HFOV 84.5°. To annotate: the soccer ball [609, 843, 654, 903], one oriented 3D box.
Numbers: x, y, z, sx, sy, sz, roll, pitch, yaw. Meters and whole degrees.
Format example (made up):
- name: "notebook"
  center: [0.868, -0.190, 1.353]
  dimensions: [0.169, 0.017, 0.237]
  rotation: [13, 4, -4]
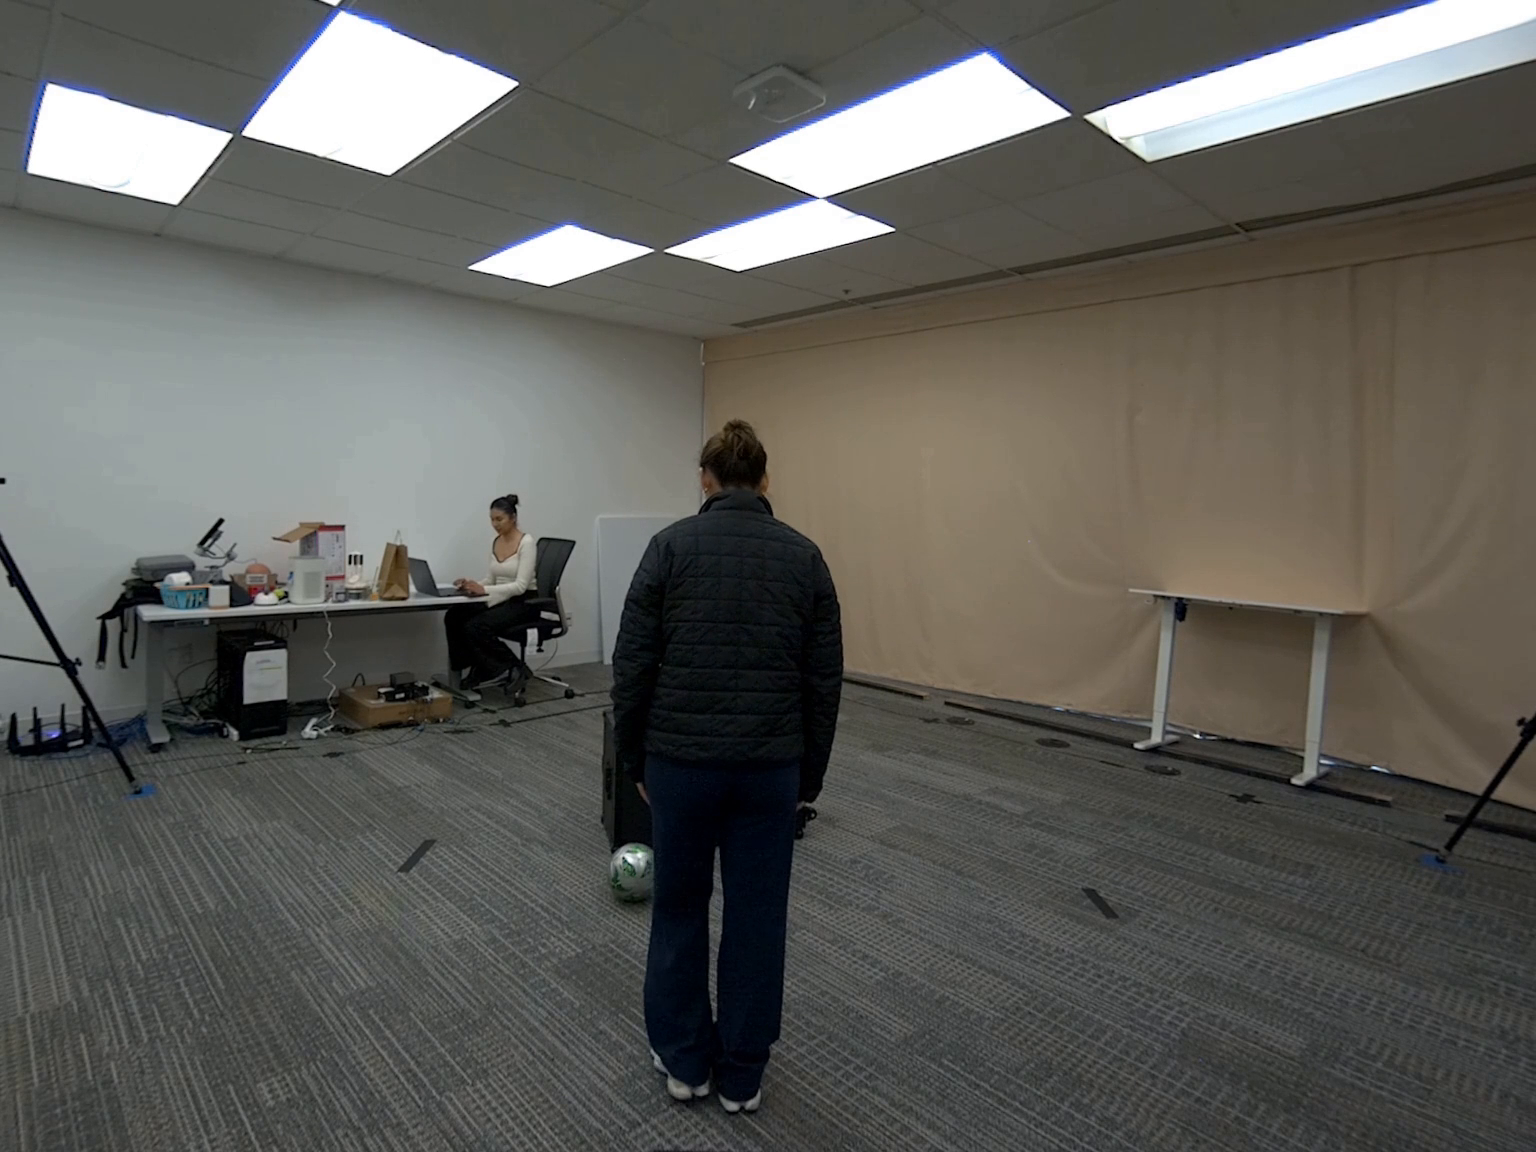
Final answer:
- name: "soccer ball"
  center: [-0.471, 1.021, 2.907]
  dimensions: [0.187, 0.187, 0.188]
  rotation: [1, 4, -1]
